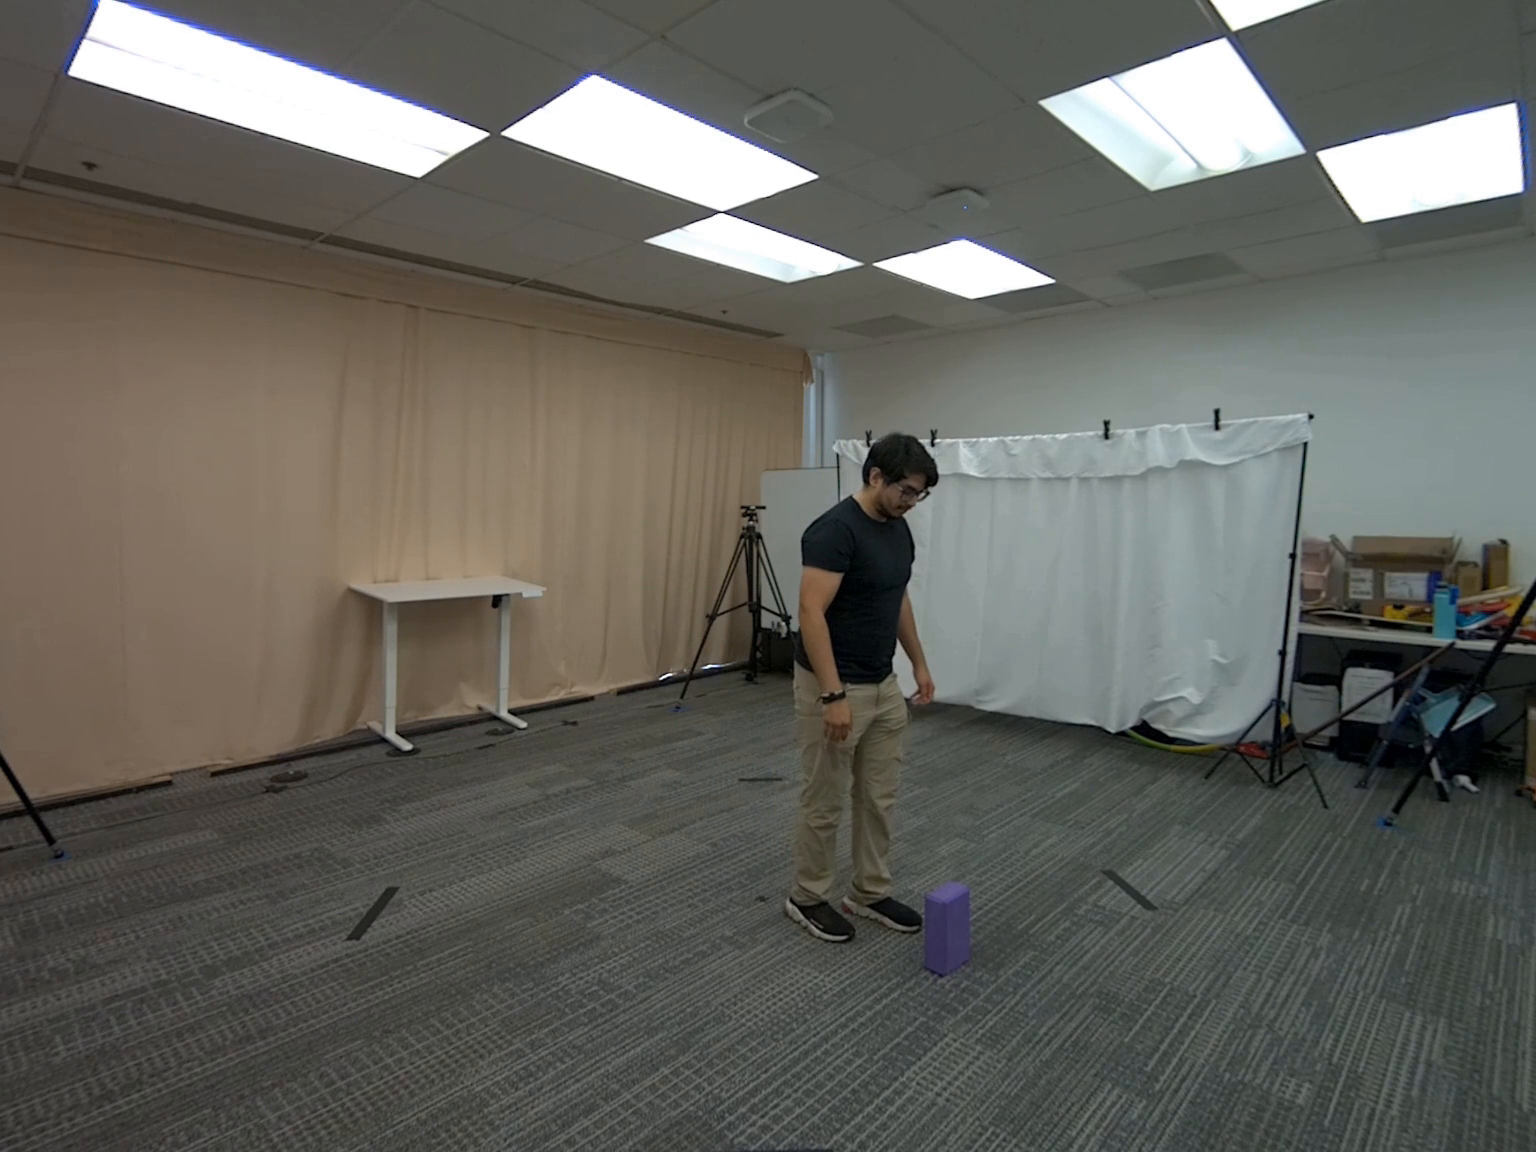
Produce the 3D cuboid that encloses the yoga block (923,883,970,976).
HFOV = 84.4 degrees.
[{"bbox_3d":[0.551,1.063,2.544,0.144,0.229,0.079,-2,3,-44],"label":"yoga block"}]
